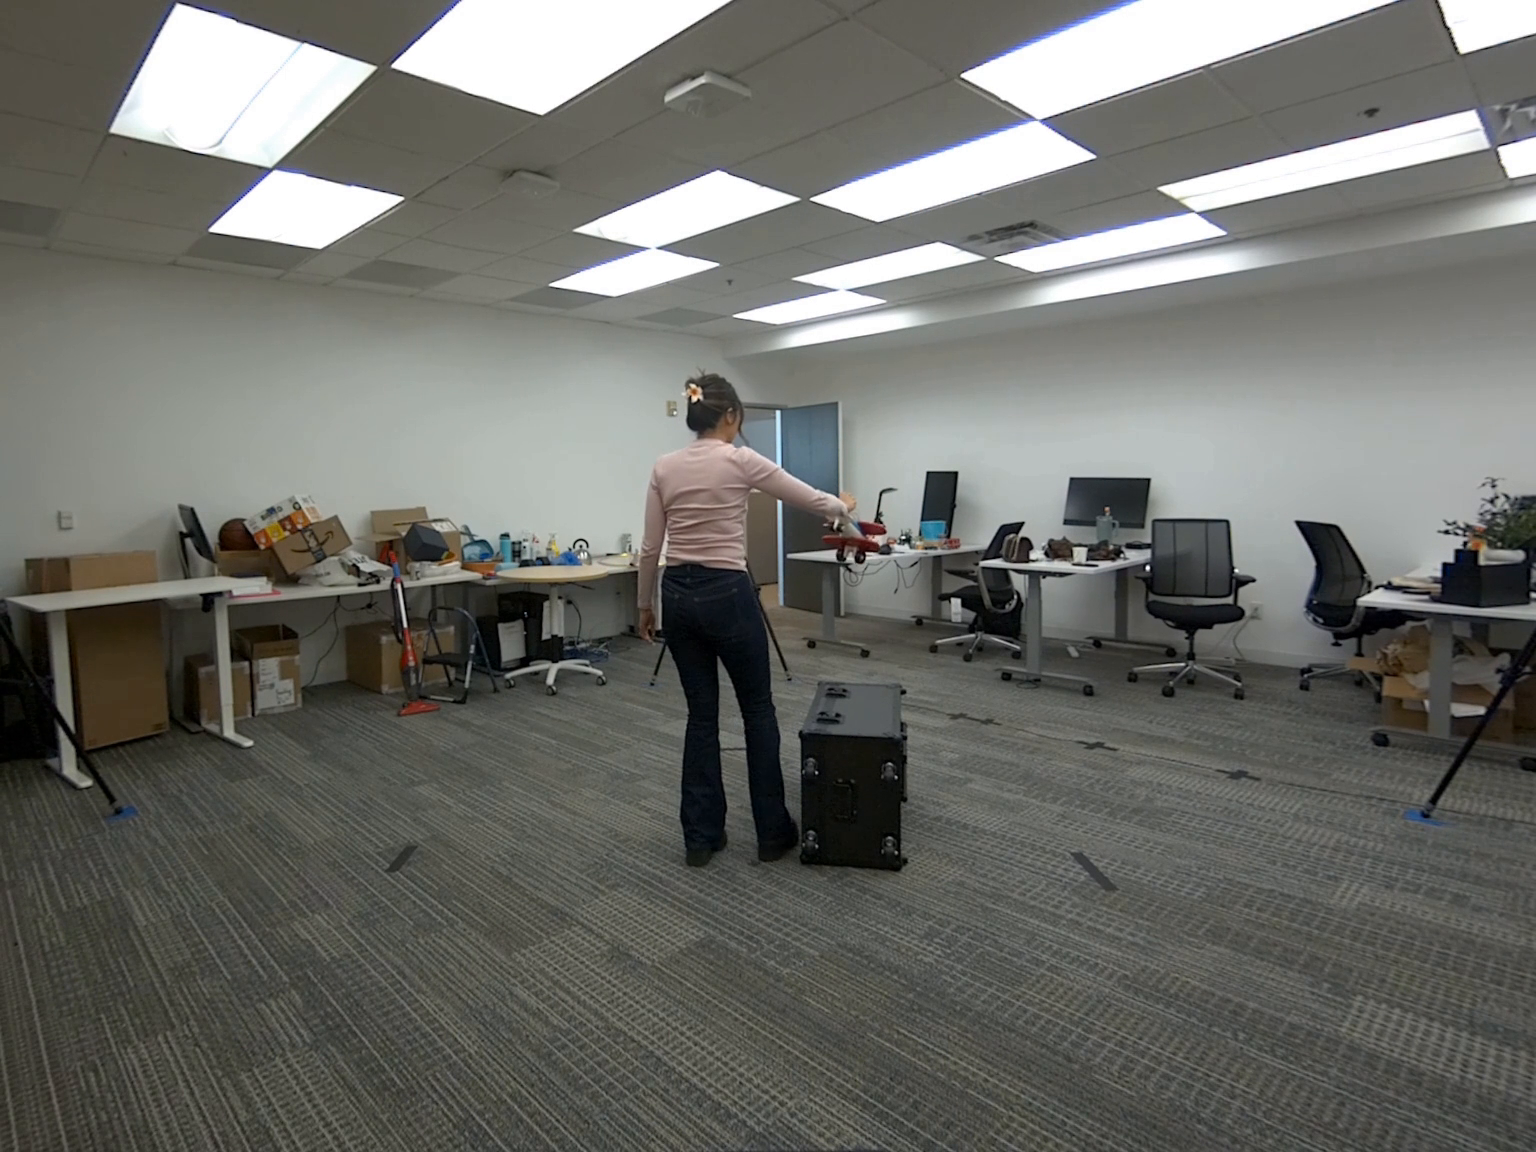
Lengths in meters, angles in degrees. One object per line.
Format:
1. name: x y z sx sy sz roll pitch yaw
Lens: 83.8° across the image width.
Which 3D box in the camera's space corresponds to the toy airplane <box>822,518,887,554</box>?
1. toy airplane: 0.344 -0.167 3.428 0.255 0.157 0.253 24 -33 12
